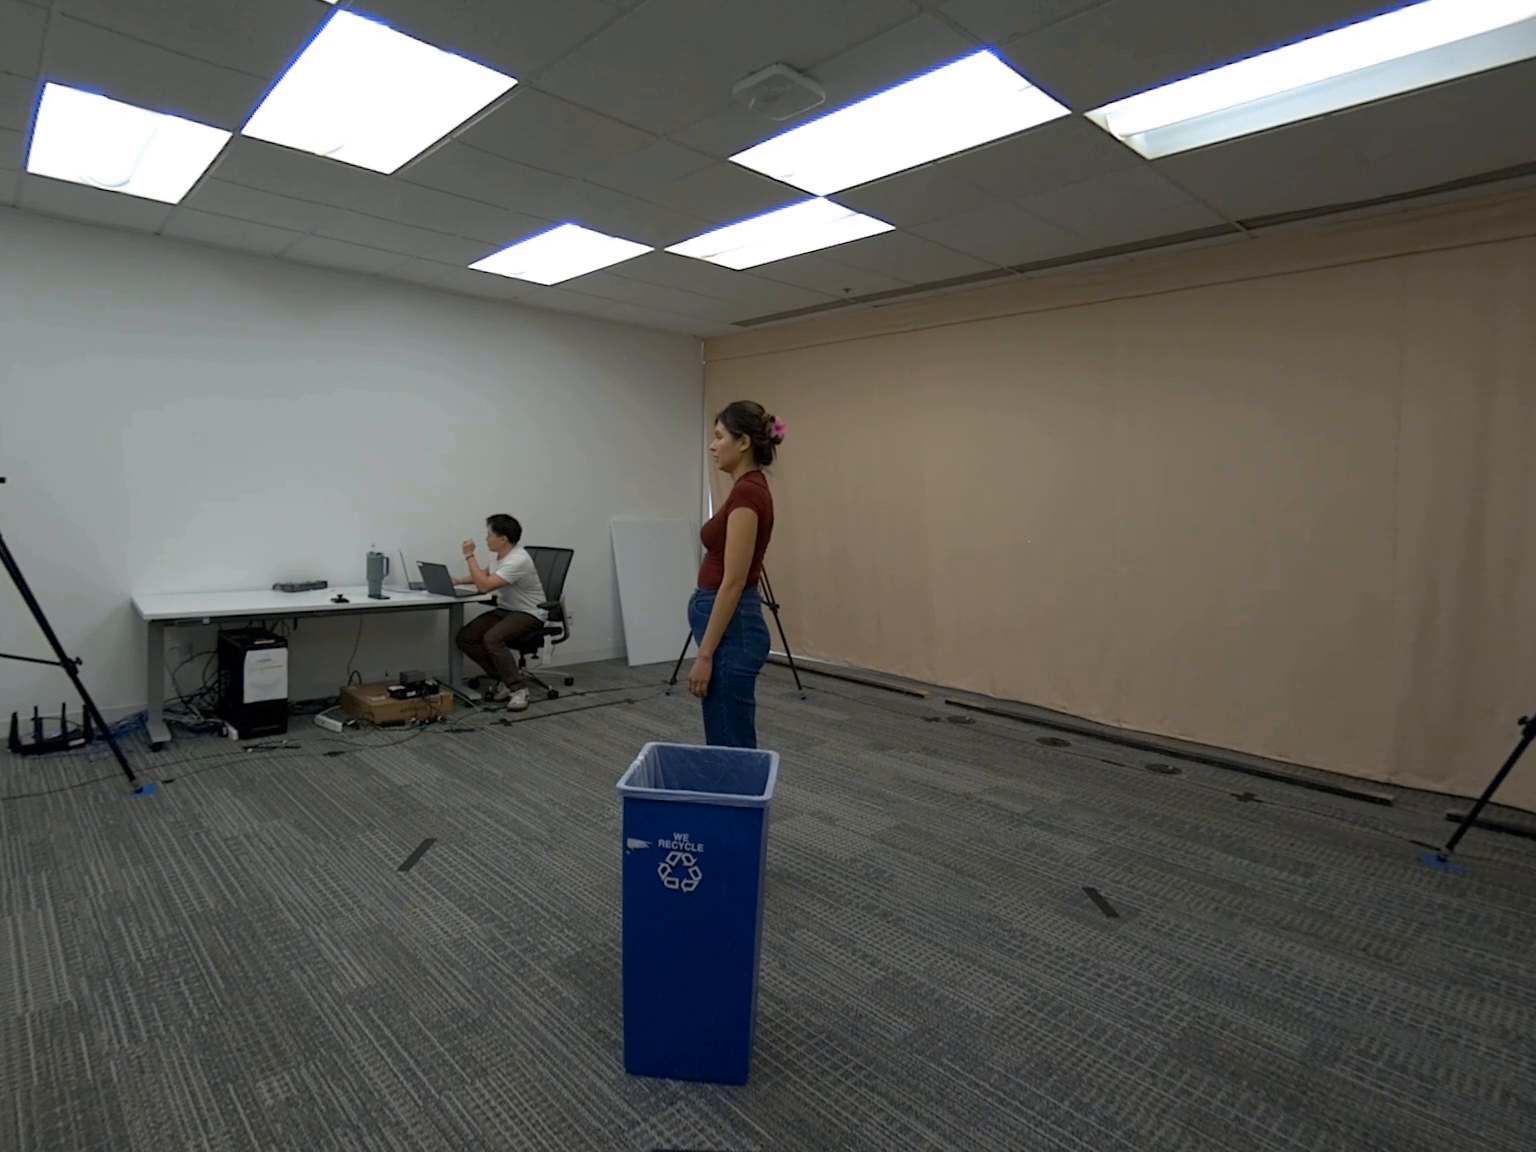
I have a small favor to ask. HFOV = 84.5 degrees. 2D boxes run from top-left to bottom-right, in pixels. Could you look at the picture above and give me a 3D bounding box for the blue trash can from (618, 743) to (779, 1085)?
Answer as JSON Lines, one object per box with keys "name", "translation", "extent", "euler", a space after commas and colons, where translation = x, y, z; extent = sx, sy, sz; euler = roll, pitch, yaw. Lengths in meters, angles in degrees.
{"name": "blue trash can", "translation": [-0.176, 0.840, 2.130], "extent": [0.376, 0.711, 0.377], "euler": [2, 4, 5]}
